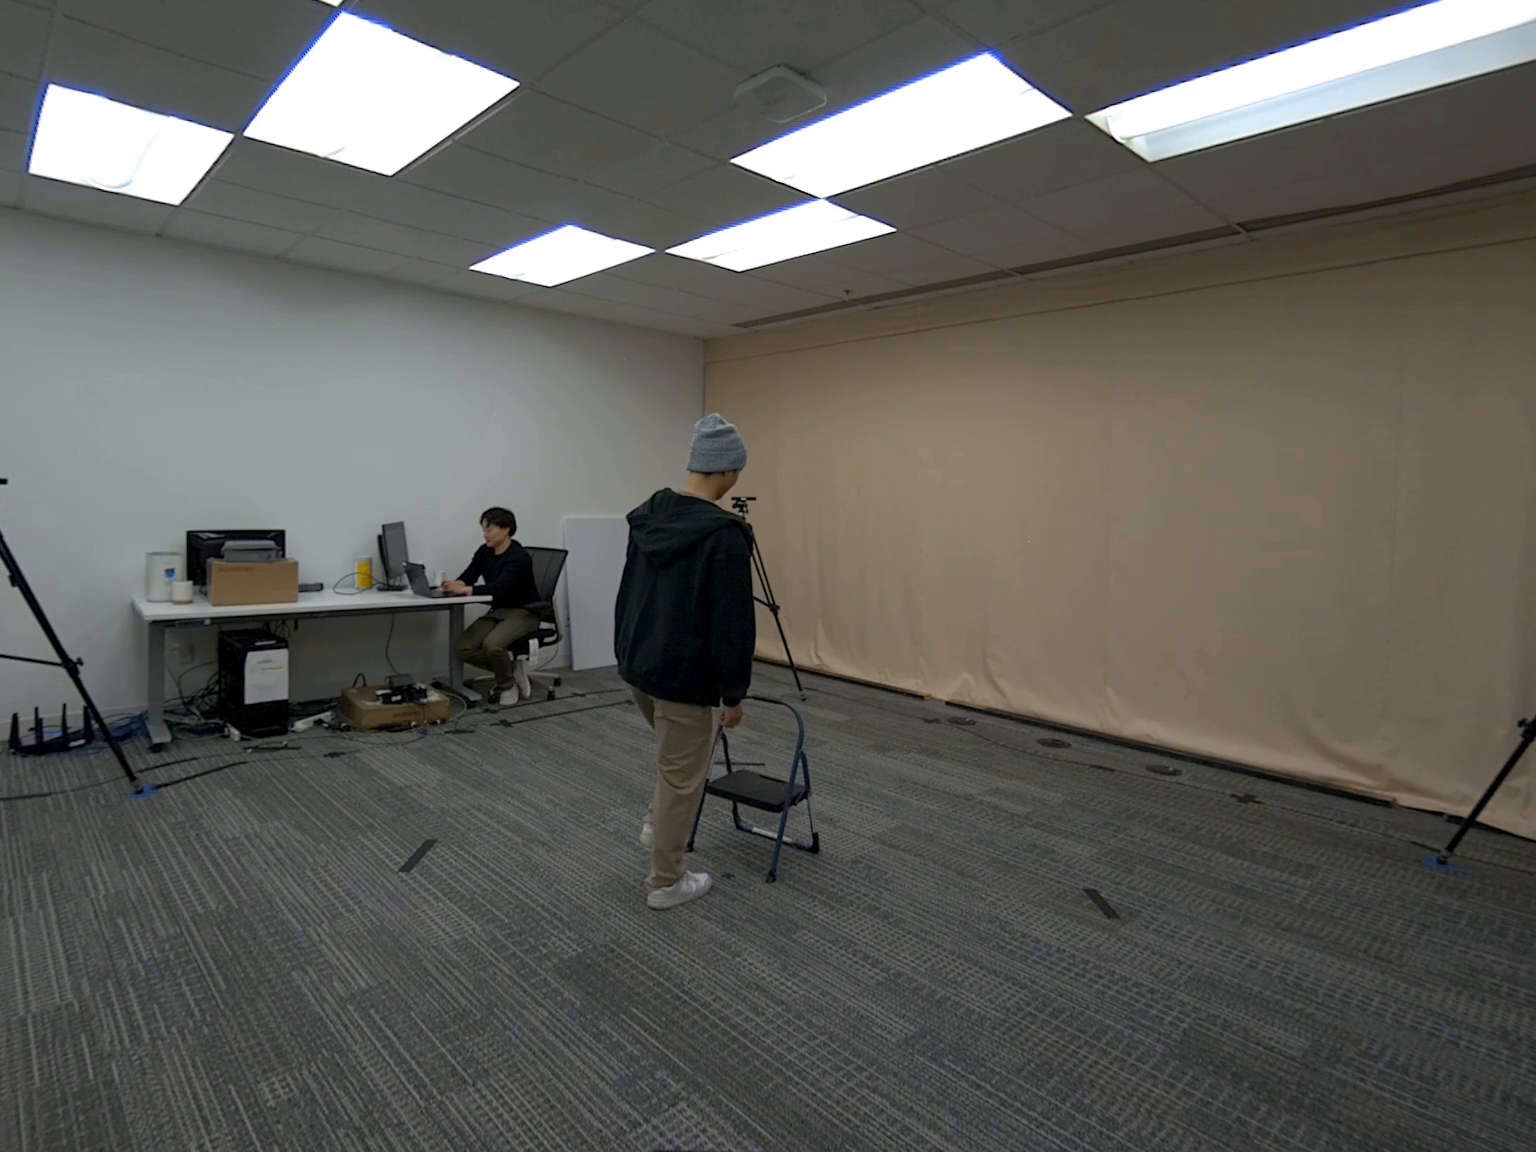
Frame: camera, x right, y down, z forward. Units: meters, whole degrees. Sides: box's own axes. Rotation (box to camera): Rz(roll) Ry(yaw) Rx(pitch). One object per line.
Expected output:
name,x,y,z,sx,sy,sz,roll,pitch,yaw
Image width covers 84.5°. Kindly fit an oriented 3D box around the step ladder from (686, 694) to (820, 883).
step ladder,-0.057,0.788,3.306,0.441,0.604,0.342,4,4,36
